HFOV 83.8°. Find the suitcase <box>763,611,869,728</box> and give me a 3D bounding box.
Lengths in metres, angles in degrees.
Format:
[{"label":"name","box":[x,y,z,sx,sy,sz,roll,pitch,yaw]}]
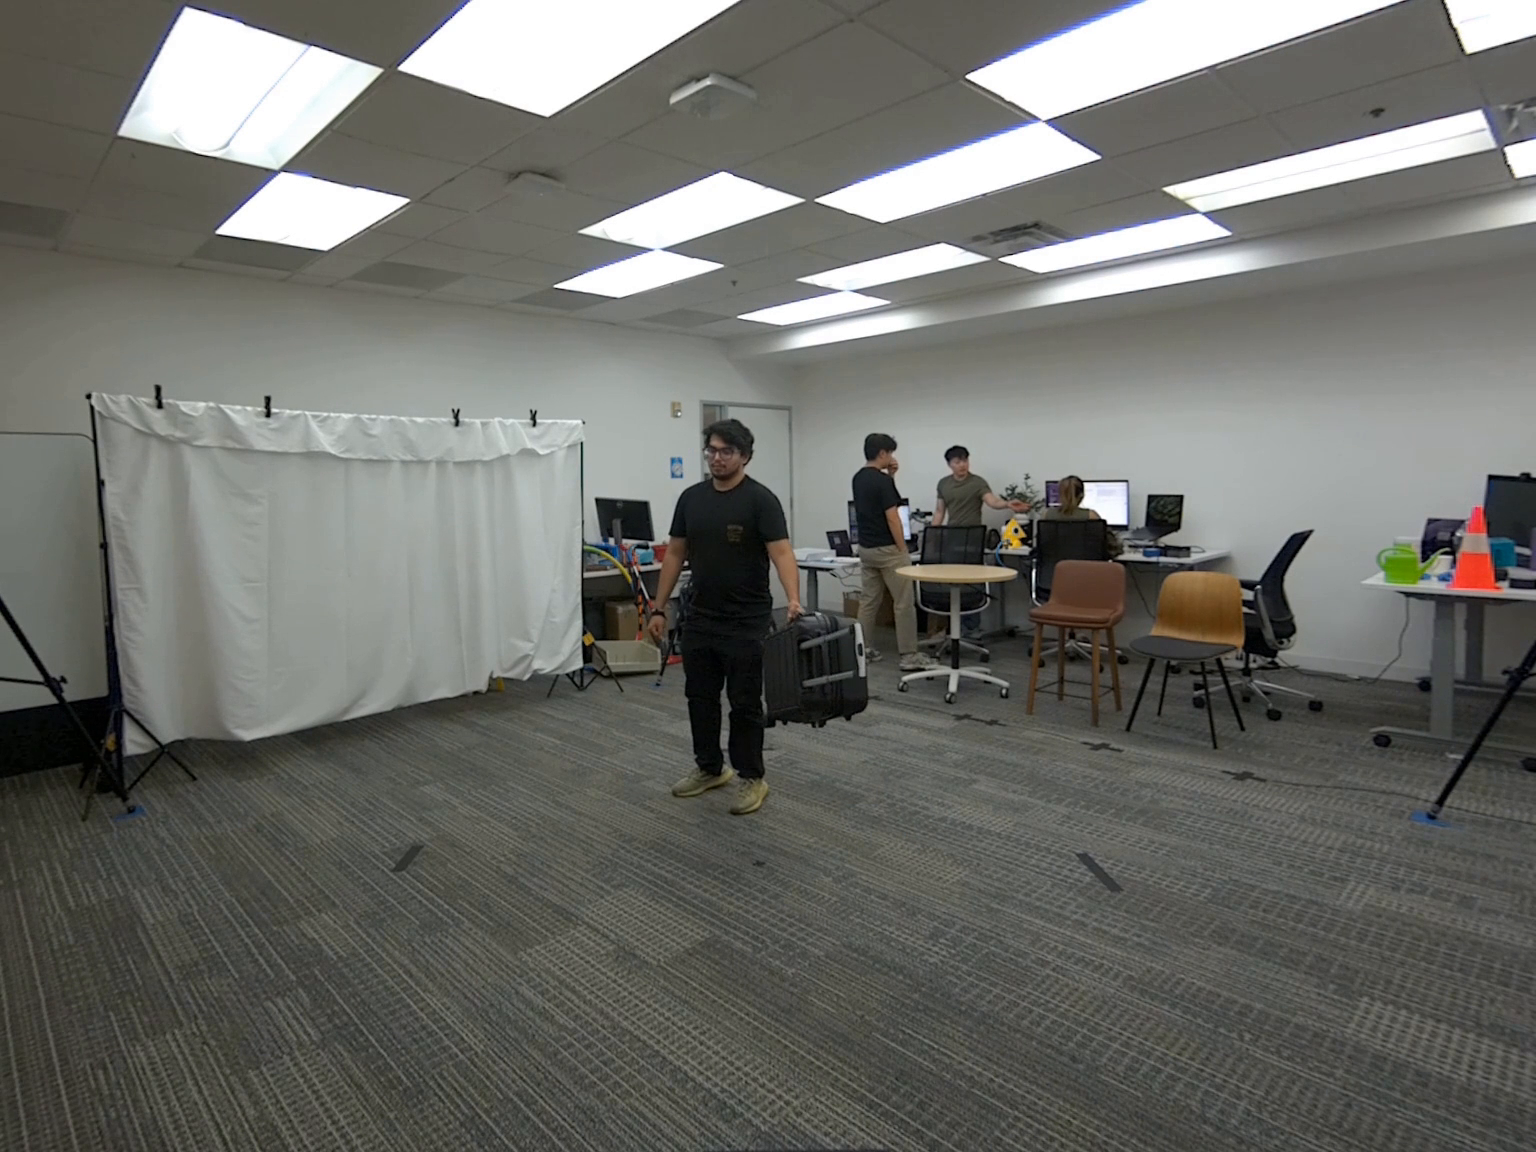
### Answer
[{"label":"suitcase","box":[0.234,0.321,3.022,0.253,0.389,0.982,3,-14,-18]}]
